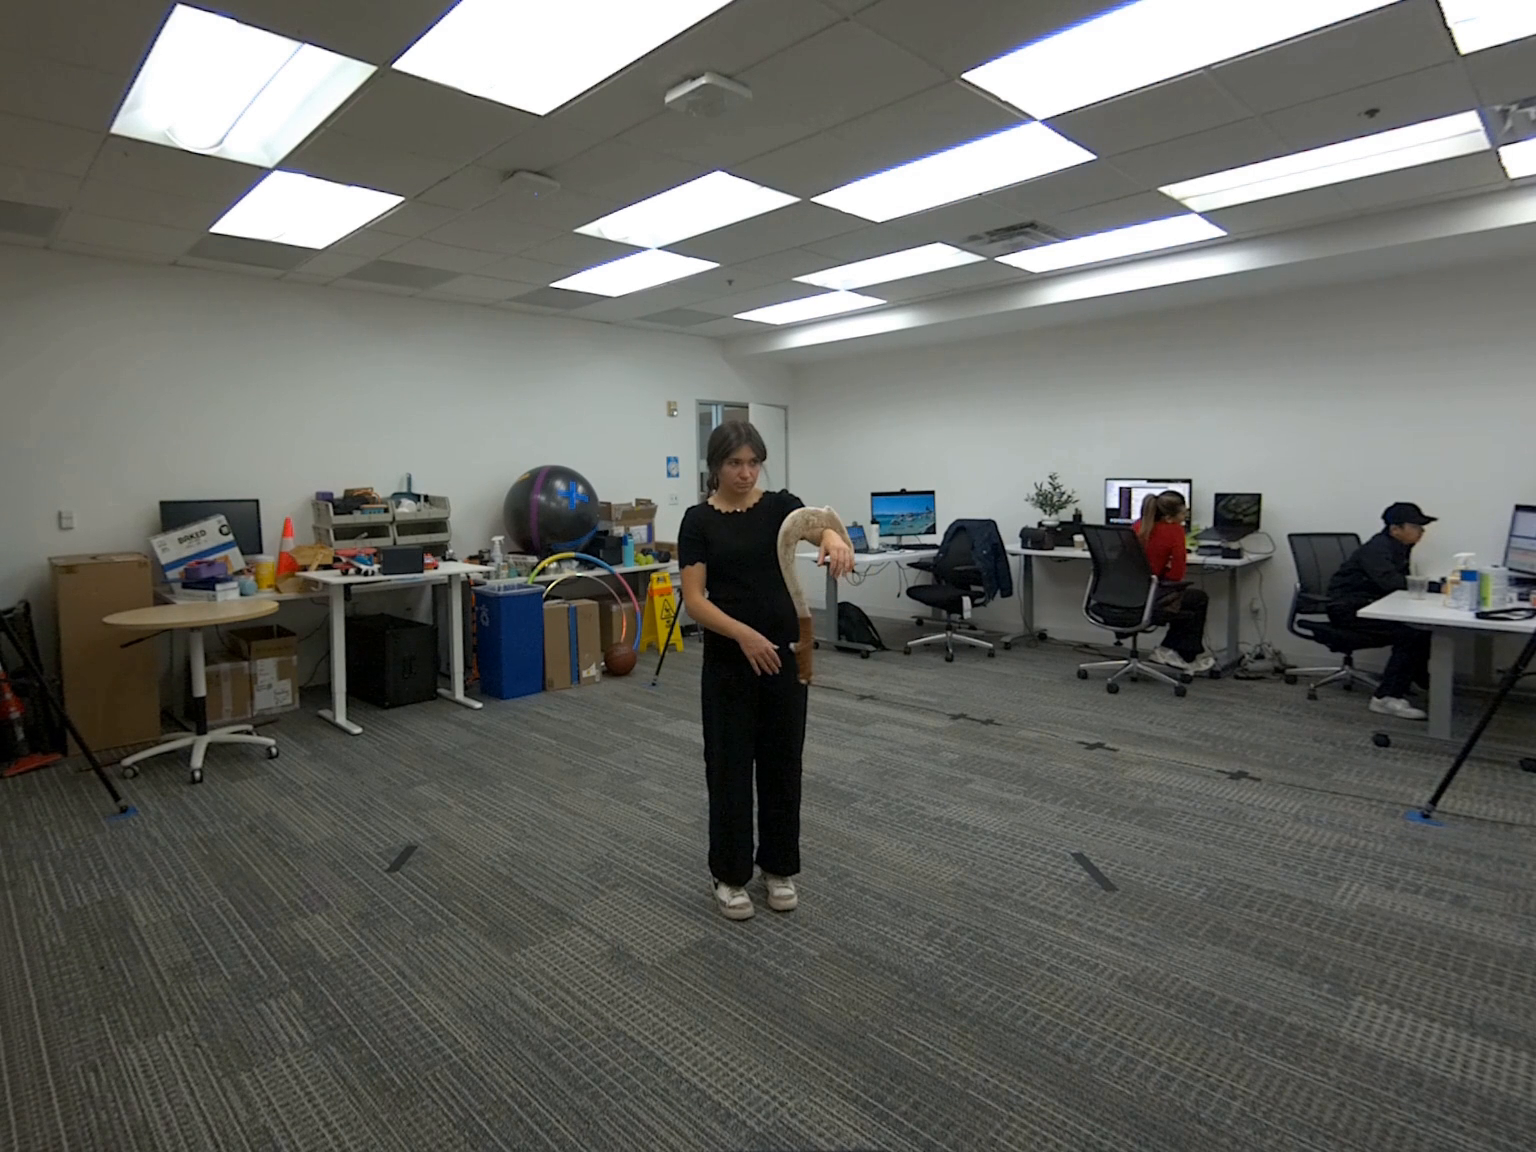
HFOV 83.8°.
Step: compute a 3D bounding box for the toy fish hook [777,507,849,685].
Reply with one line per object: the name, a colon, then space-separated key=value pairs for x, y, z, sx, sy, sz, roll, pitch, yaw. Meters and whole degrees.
toy fish hook: x=0.154 y=0.061 z=2.440 sx=0.223 sy=0.505 sz=0.049 roll=-2 pitch=3 yaw=-7
